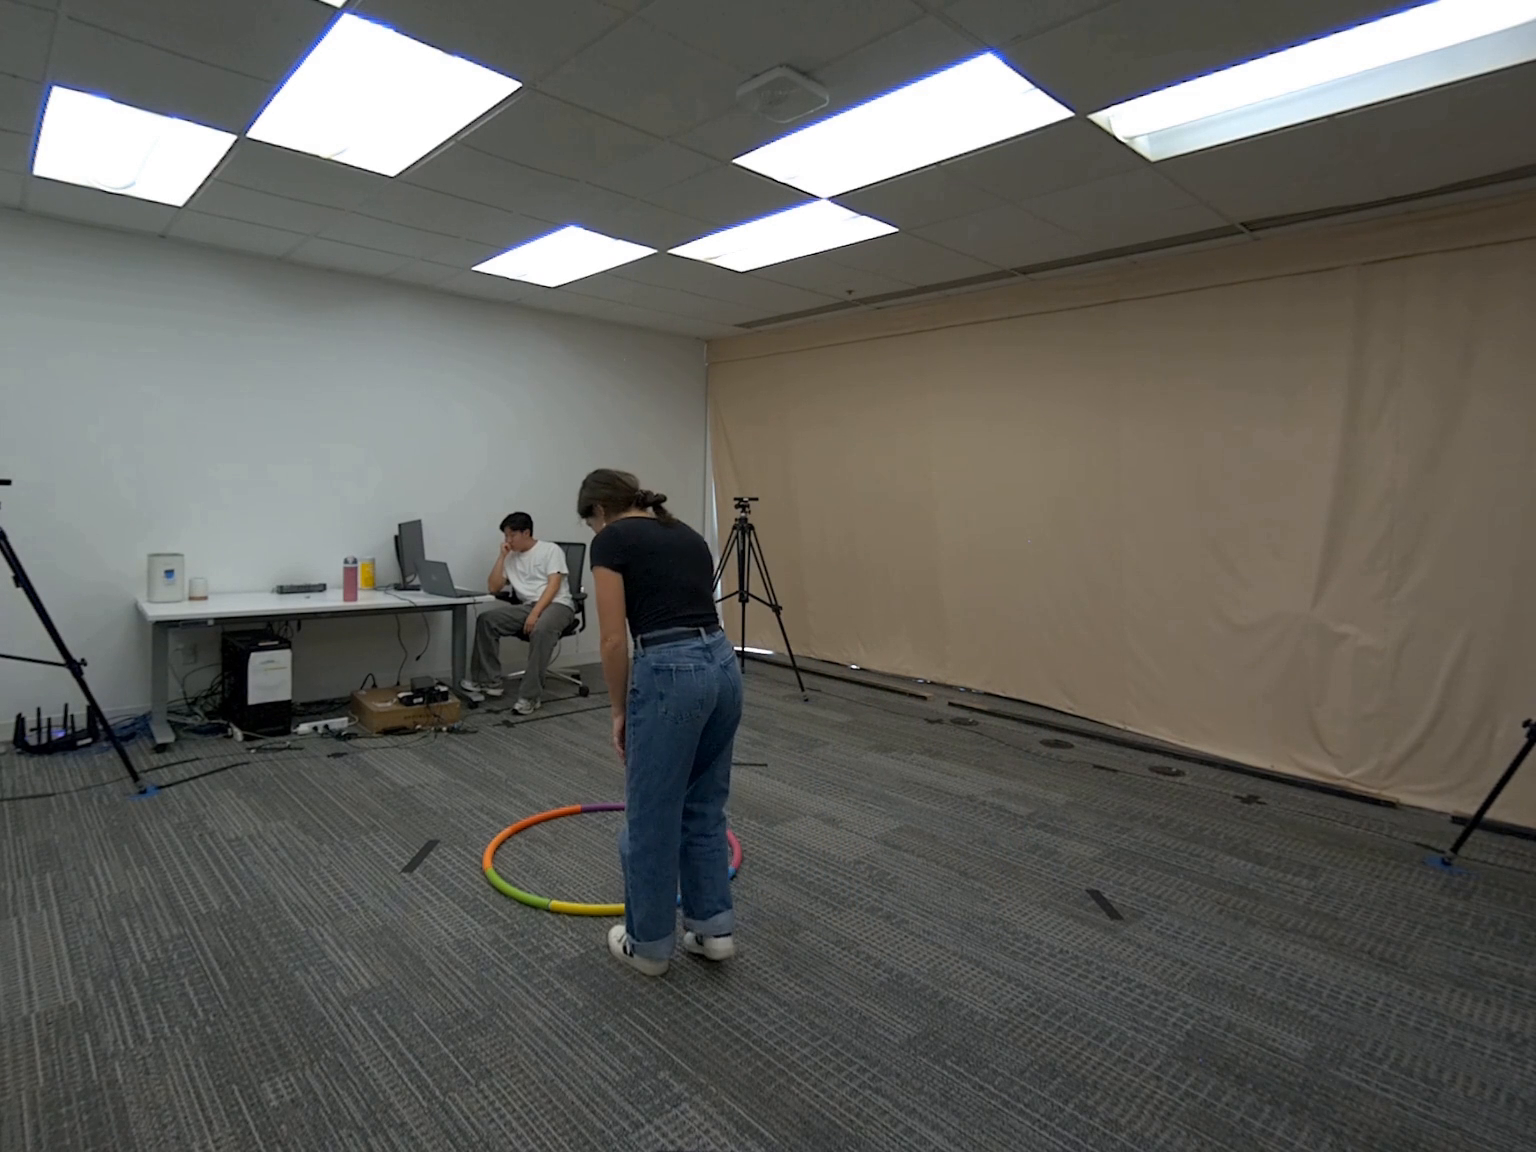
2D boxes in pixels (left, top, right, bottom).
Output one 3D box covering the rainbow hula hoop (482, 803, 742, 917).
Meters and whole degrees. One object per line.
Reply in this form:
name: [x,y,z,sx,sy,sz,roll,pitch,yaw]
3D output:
rainbow hula hoop: [-0.595,1.058,3.261,0.978,0.035,0.982,1,5,-1]
